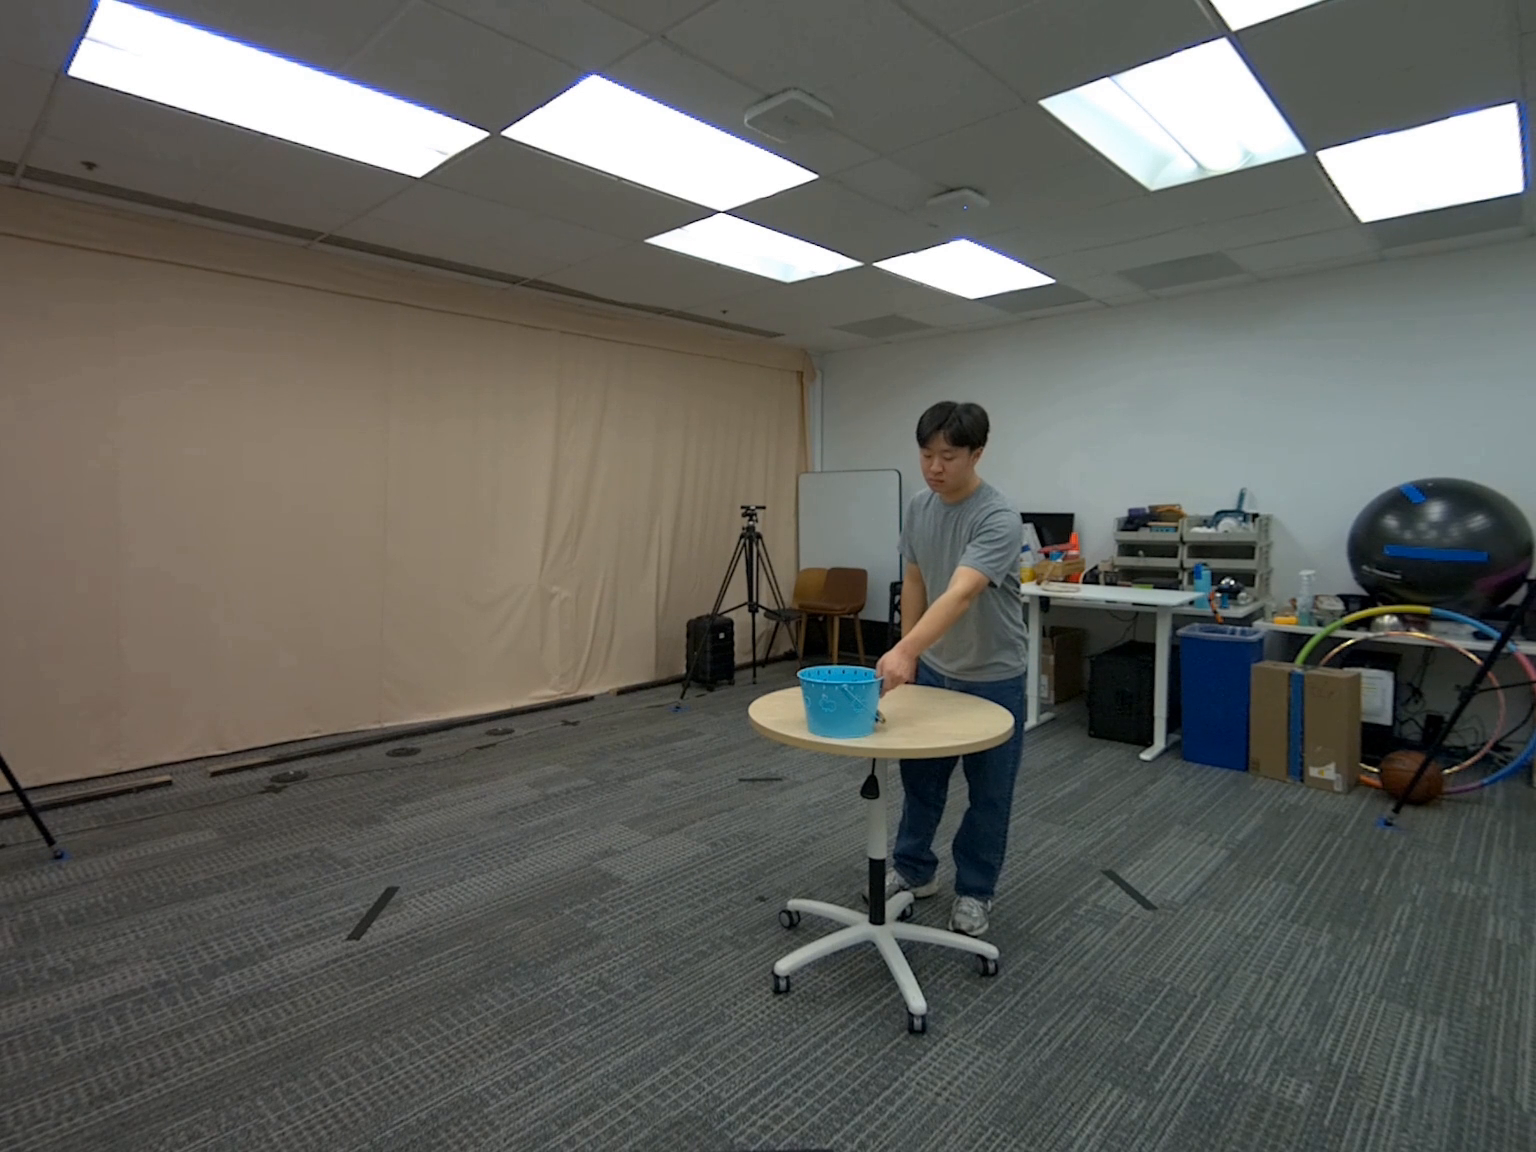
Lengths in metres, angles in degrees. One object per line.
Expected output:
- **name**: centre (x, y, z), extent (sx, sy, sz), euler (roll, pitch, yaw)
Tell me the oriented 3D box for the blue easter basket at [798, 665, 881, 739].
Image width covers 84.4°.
- **blue easter basket**: centre (0.215, 0.350, 2.275), extent (0.243, 0.155, 0.244), euler (0, 5, -2)
